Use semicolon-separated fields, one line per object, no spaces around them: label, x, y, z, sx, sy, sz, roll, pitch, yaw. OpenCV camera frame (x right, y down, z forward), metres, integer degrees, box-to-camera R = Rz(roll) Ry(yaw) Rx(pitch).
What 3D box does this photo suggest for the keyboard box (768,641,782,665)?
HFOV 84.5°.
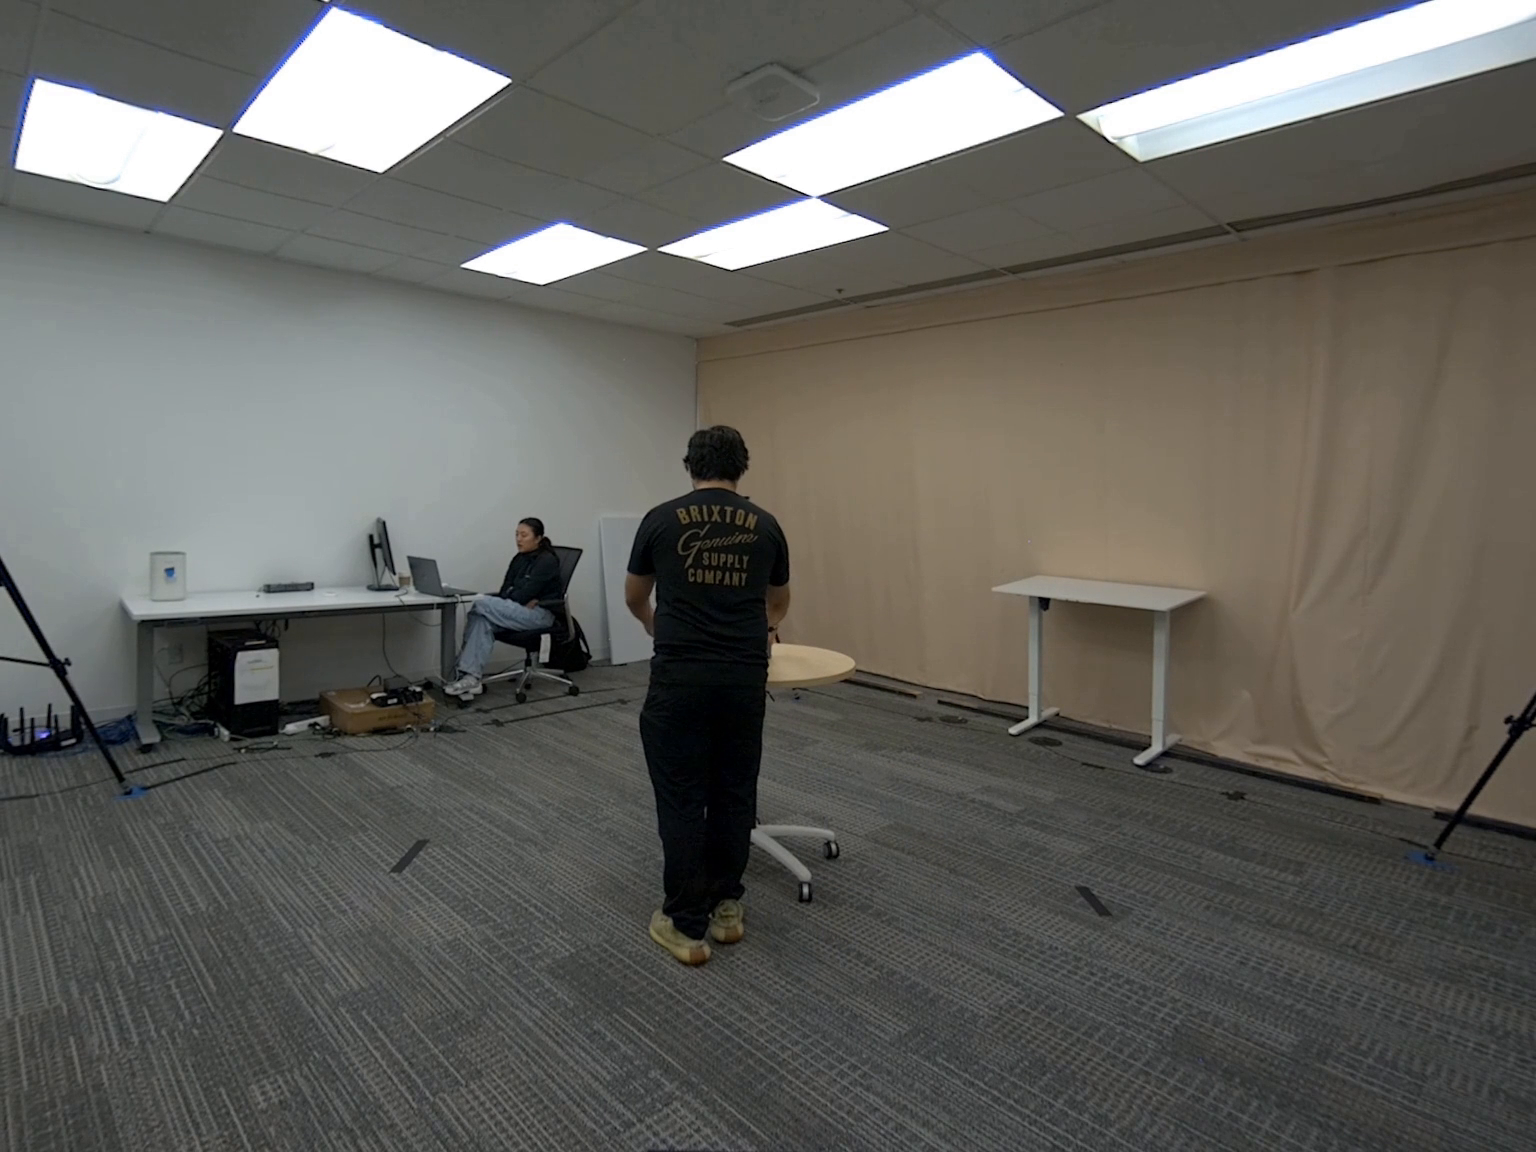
keyboard box;-0.199;0.234;3.160;0.432;0.175;0.060;0;3;-15
